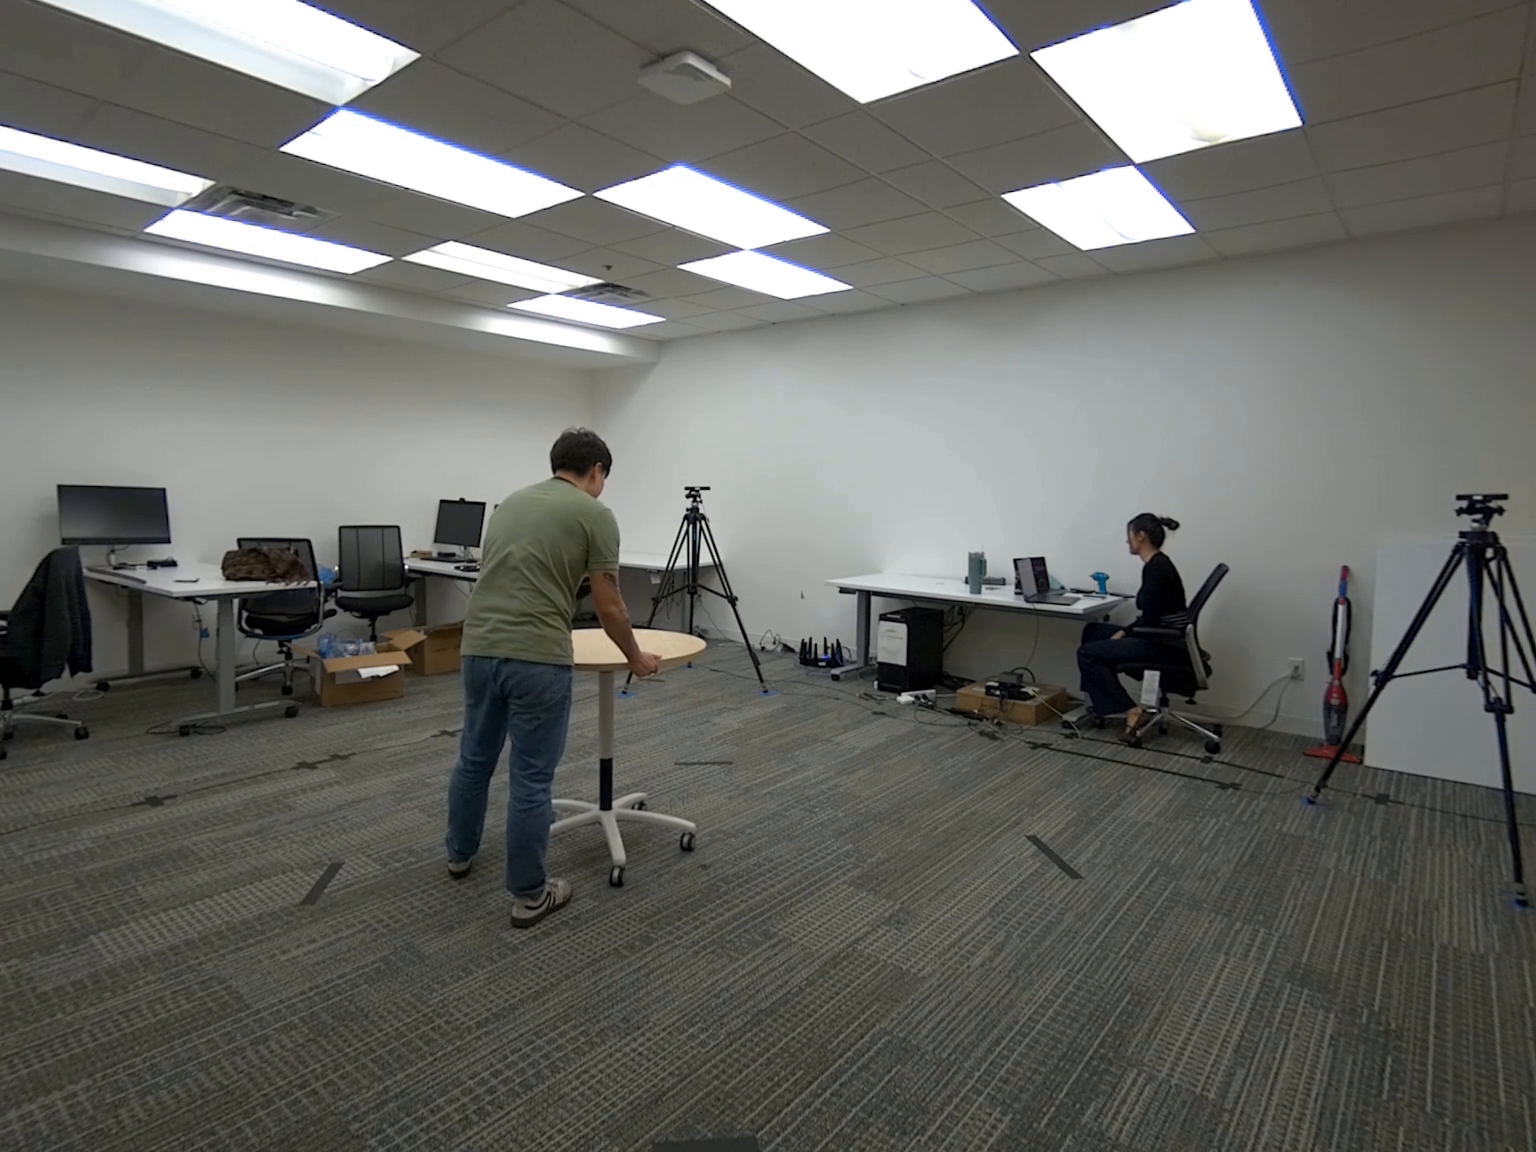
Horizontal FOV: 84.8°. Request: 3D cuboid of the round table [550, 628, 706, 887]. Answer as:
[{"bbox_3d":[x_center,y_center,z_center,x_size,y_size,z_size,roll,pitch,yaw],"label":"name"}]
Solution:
[{"bbox_3d":[-0.632,0.654,3.278,0.763,0.792,0.767,0,4,-2],"label":"round table"}]
